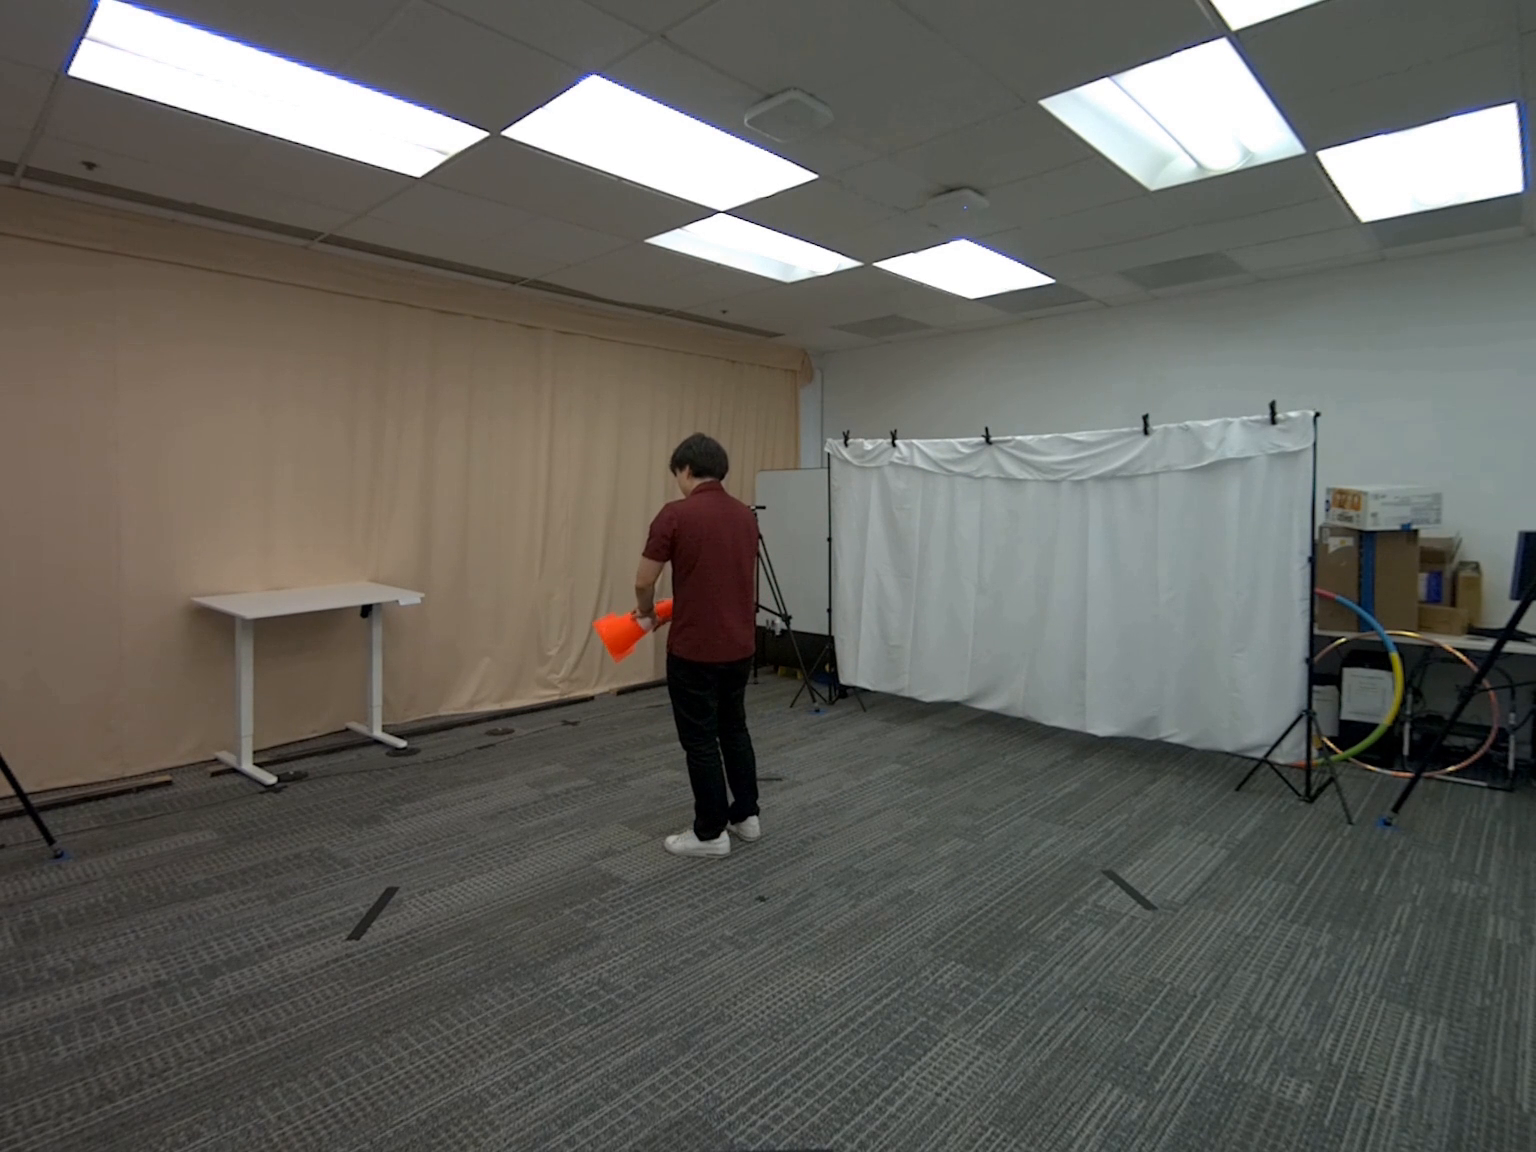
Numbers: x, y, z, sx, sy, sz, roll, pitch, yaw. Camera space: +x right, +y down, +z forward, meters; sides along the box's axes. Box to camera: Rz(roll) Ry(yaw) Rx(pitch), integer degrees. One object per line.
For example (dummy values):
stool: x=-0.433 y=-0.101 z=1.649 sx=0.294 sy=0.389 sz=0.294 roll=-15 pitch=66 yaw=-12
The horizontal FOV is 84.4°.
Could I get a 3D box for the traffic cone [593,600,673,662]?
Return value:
traffic cone: x=-0.514 y=0.177 z=3.592 sx=0.388 sy=0.204 sz=0.202 roll=-30 pitch=6 yaw=20
